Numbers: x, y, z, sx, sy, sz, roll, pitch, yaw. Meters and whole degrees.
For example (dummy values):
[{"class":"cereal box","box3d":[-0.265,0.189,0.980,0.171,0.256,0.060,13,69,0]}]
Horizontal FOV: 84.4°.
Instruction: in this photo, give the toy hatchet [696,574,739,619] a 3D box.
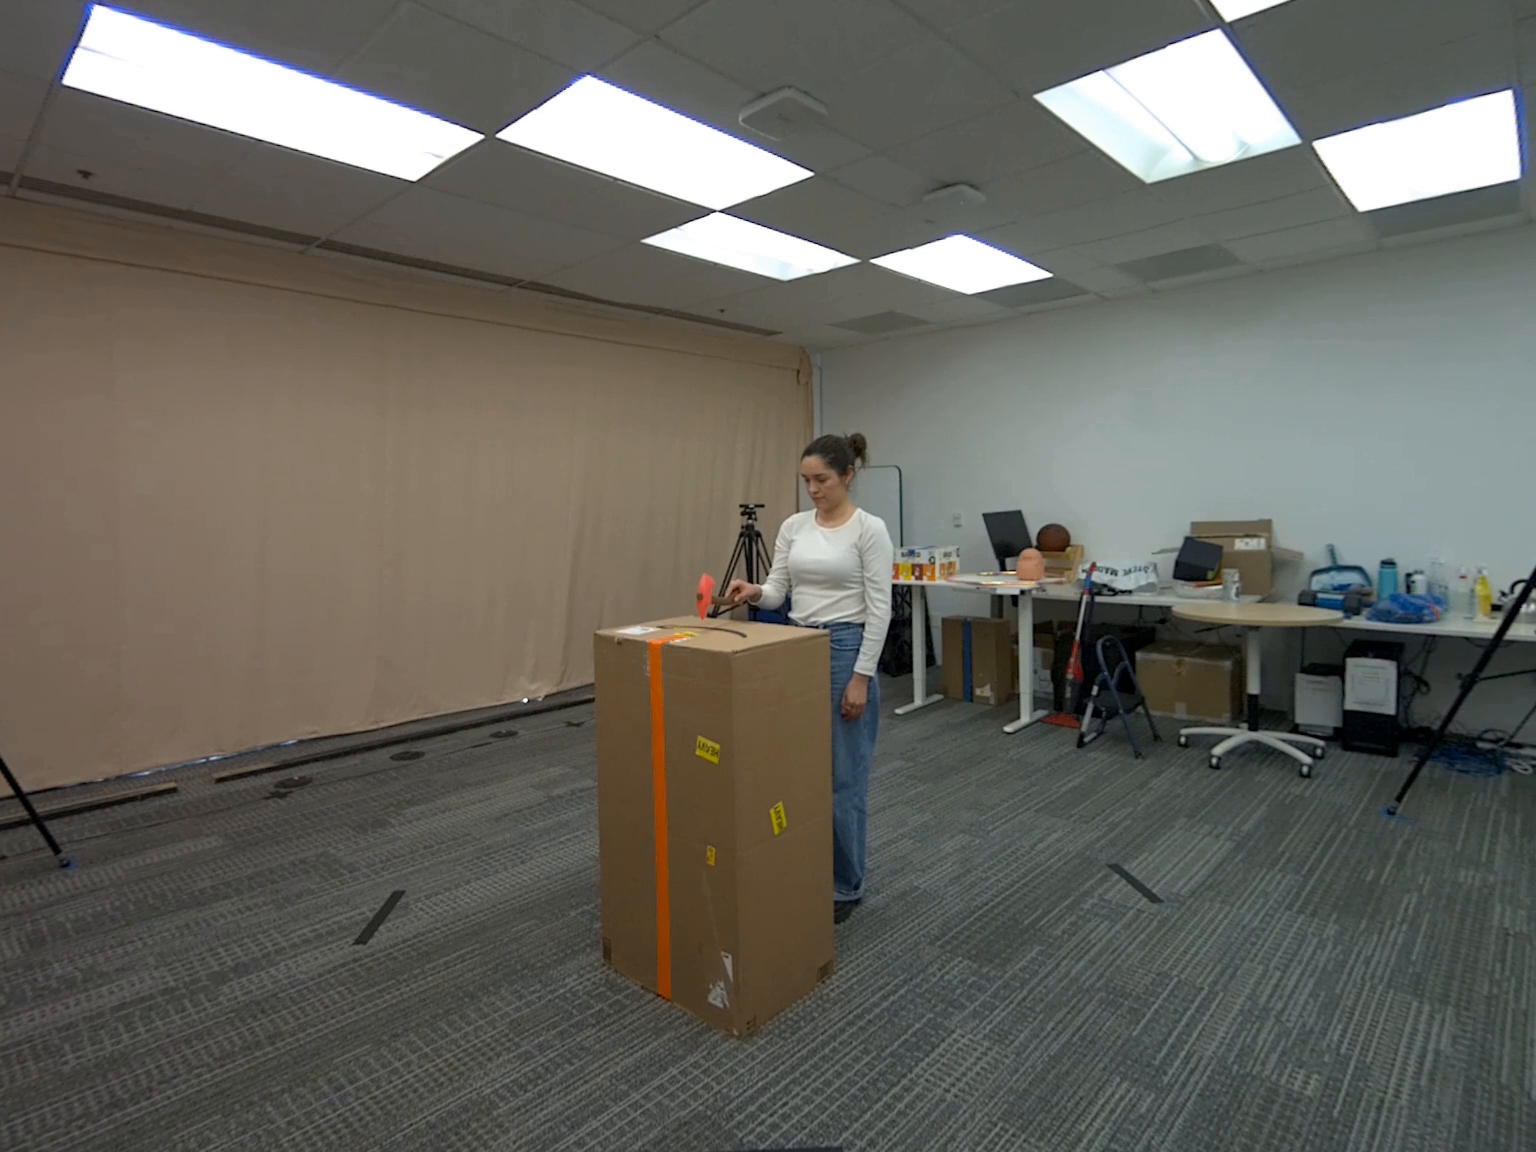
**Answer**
[{"class":"toy hatchet","box3d":[-0.150,0.046,2.598,0.030,0.130,0.266,-5,10,21]}]
